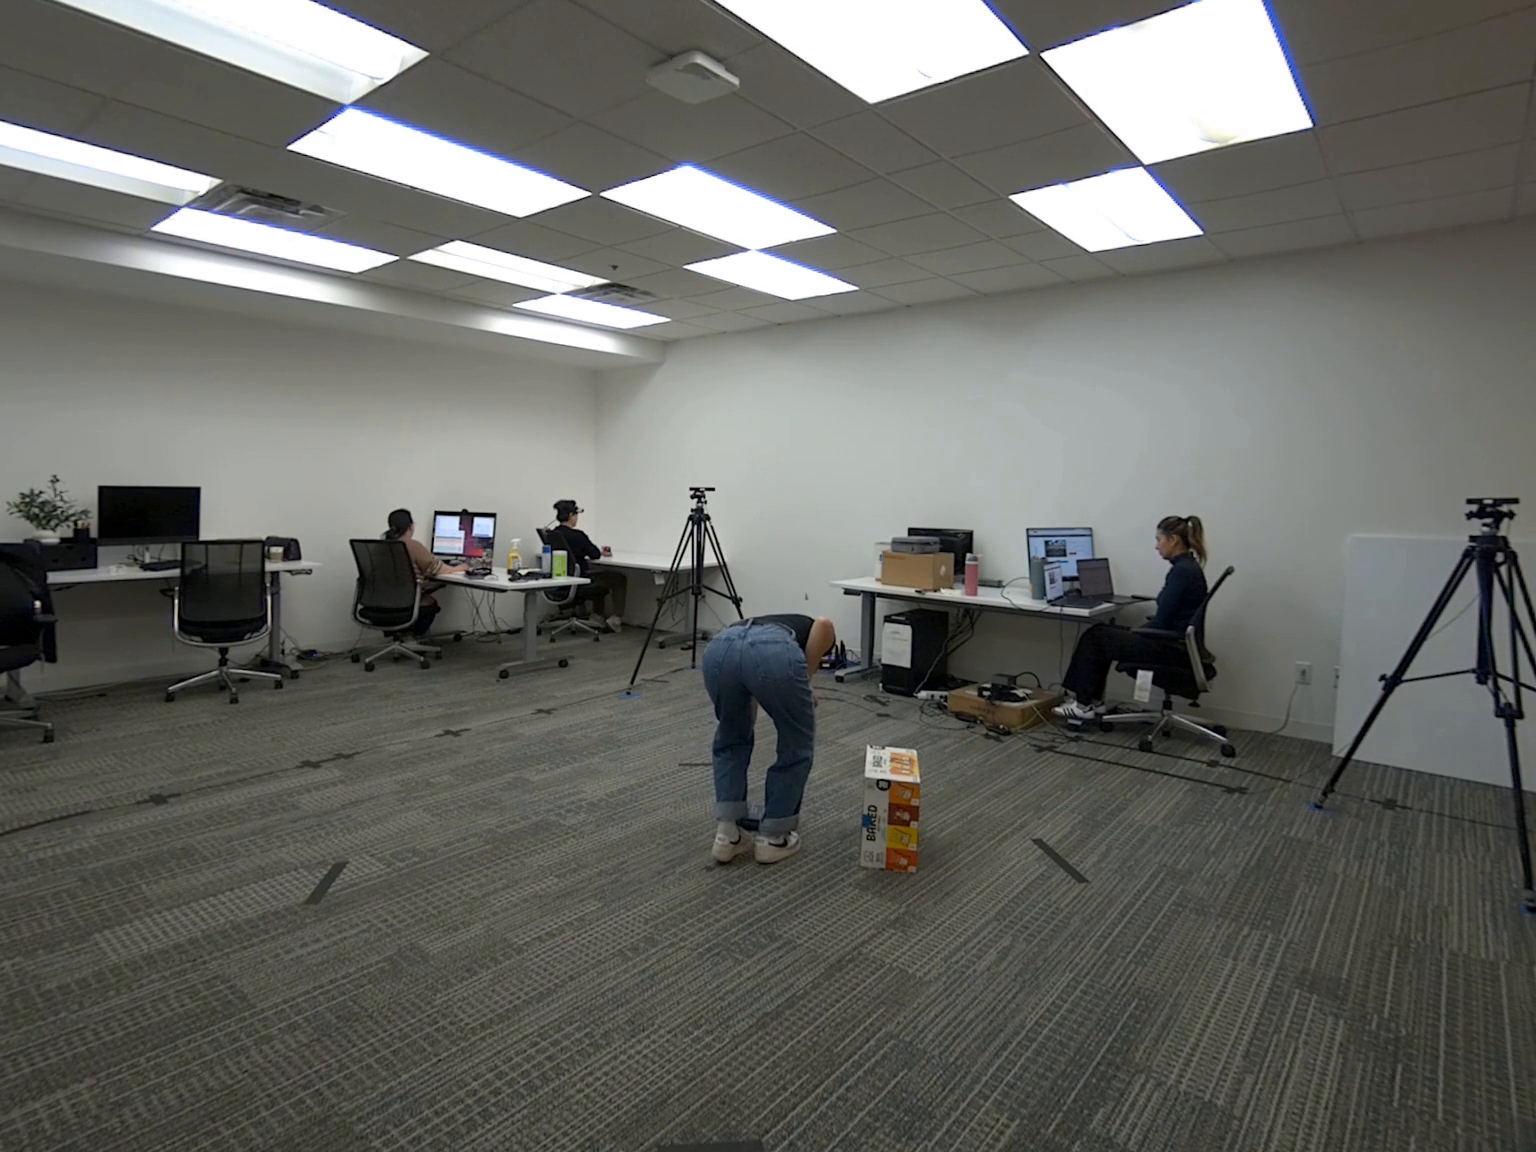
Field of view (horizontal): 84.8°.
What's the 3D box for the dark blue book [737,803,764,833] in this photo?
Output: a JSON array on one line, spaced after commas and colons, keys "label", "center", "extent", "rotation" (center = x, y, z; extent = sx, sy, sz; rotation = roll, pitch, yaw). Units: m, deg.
[{"label": "dark blue book", "center": [-0.018, 0.992, 3.524], "extent": [0.247, 0.045, 0.162], "rotation": [3, 5, 7]}]
